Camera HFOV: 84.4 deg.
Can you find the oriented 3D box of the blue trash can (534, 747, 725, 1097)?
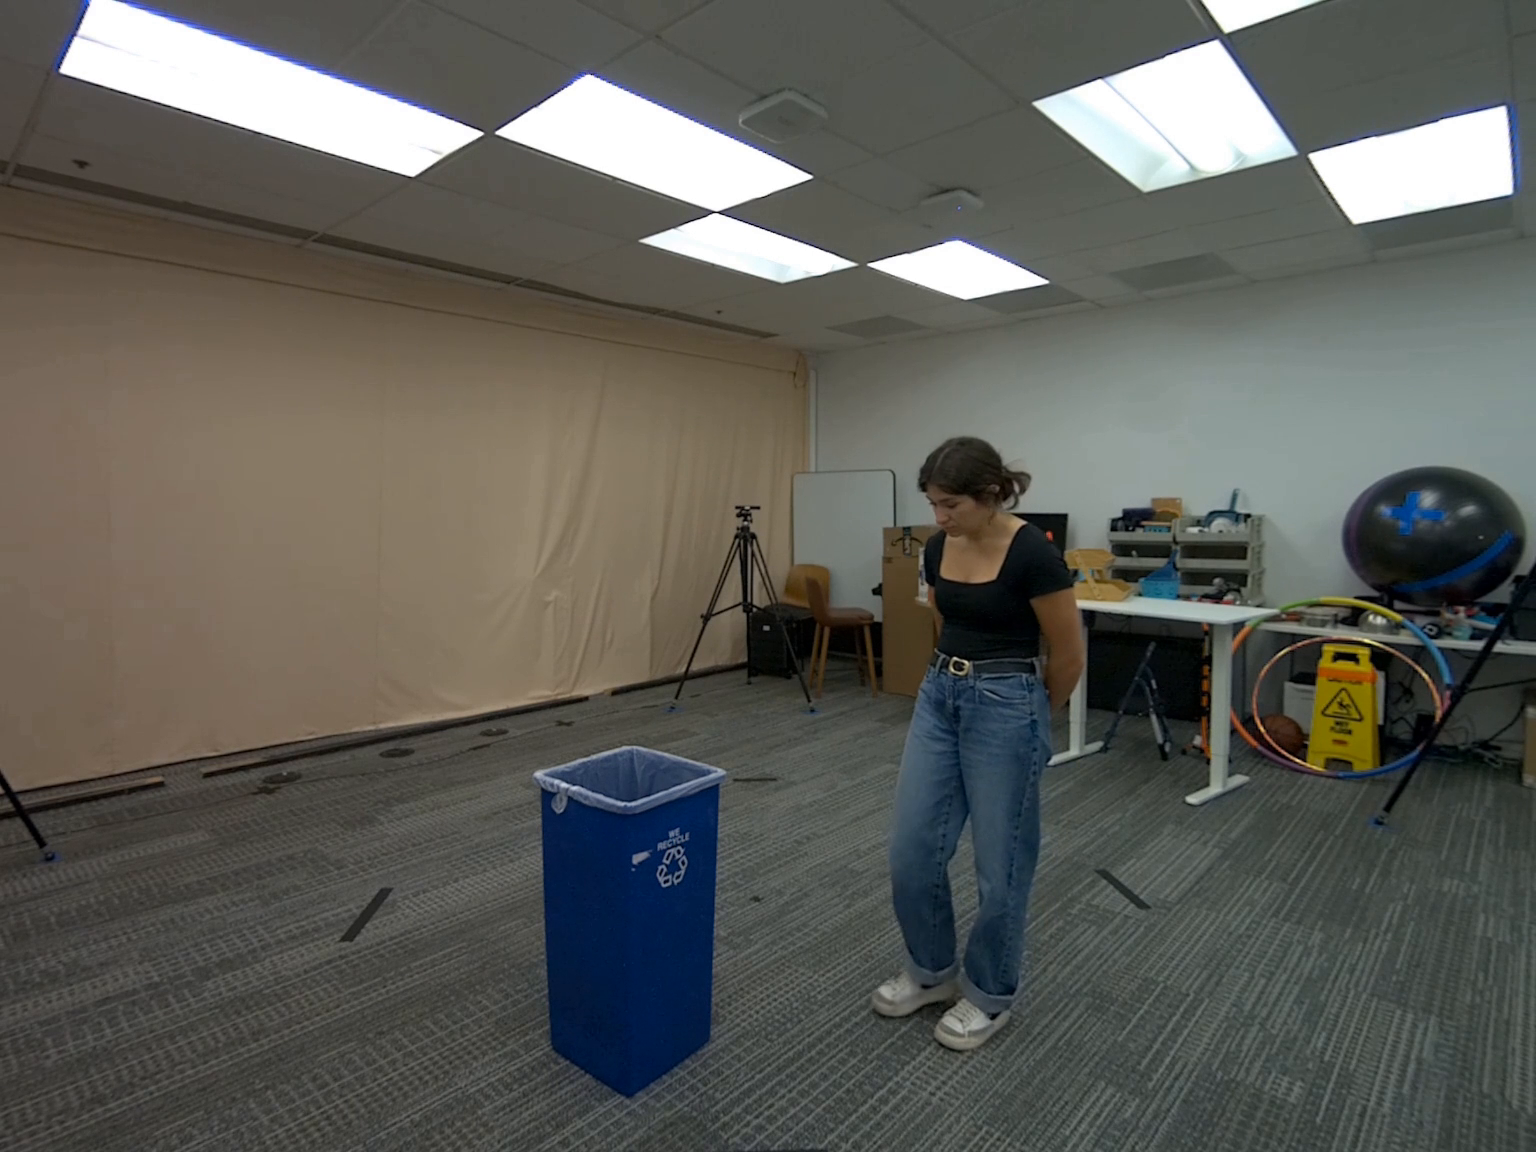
[{"bbox_3d":[-0.362,0.859,2.169,0.386,0.712,0.367,3,4,39],"label":"blue trash can"}]
